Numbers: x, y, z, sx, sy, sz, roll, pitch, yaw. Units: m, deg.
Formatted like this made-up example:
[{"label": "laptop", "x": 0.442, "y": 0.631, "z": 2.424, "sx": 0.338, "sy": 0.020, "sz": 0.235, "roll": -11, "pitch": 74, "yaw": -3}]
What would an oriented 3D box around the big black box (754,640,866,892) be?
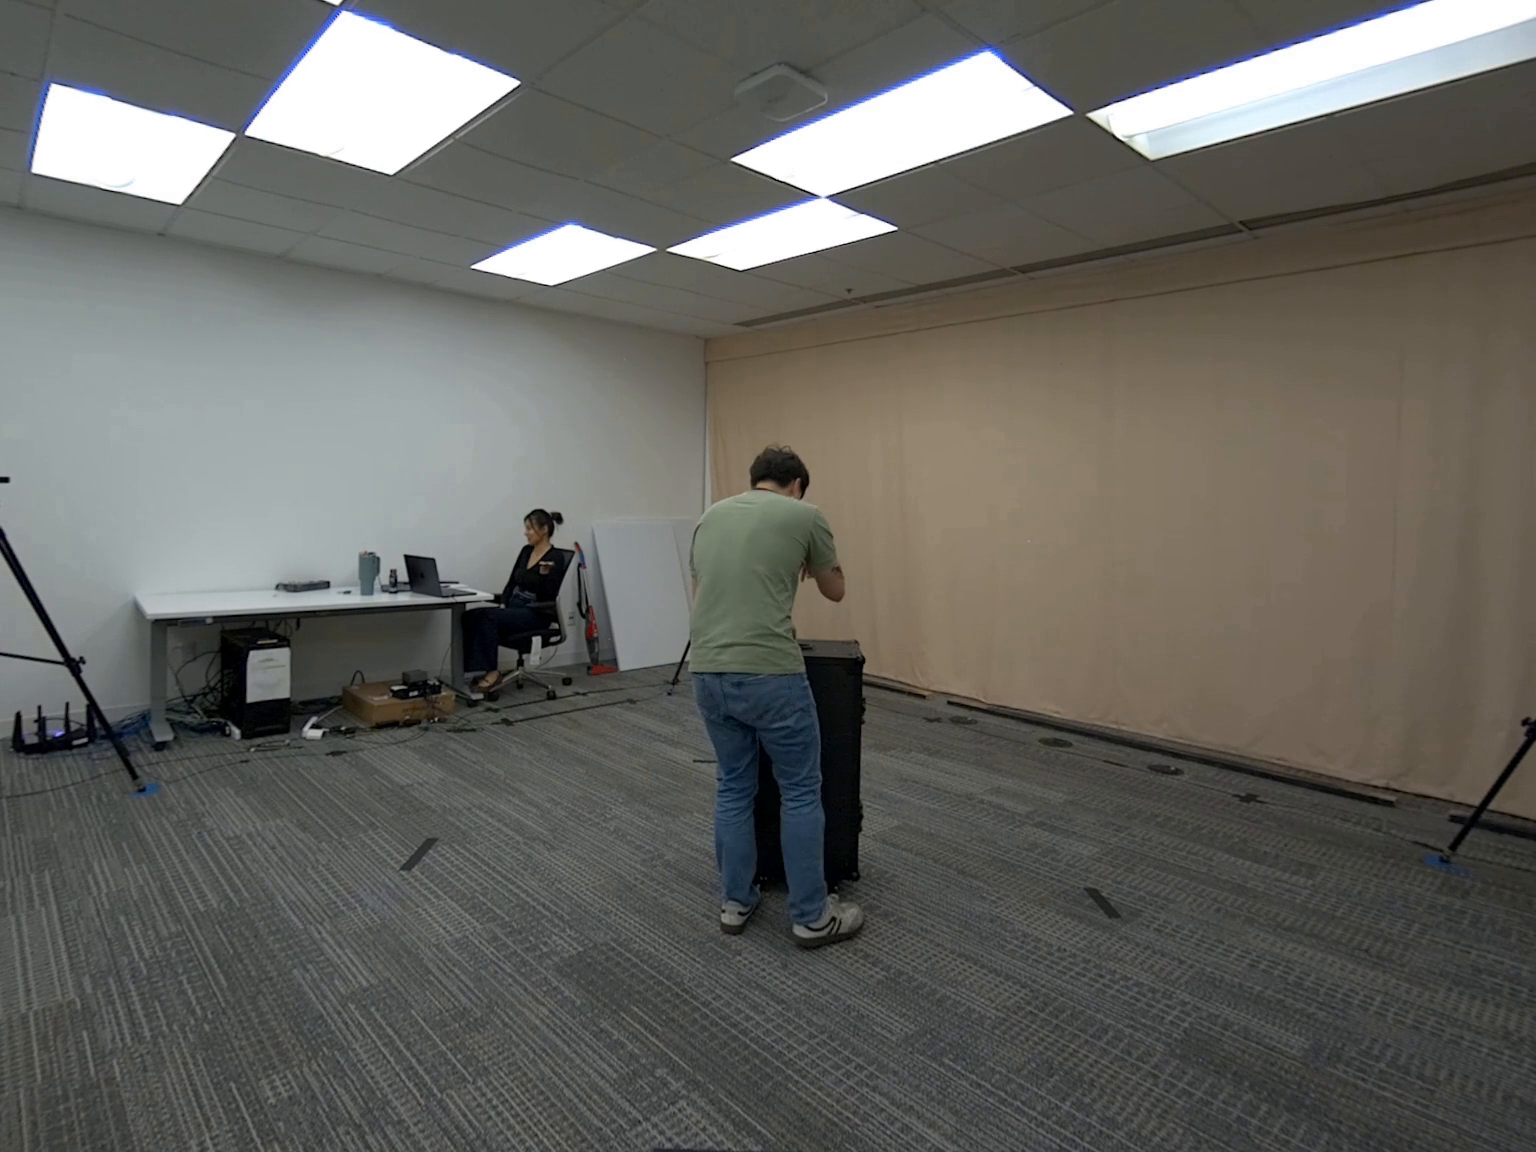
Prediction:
[{"label": "big black box", "x": 0.083, "y": 0.683, "z": 3.105, "sx": 0.523, "sy": 0.860, "sz": 0.395, "roll": 1, "pitch": 3, "yaw": 4}]
